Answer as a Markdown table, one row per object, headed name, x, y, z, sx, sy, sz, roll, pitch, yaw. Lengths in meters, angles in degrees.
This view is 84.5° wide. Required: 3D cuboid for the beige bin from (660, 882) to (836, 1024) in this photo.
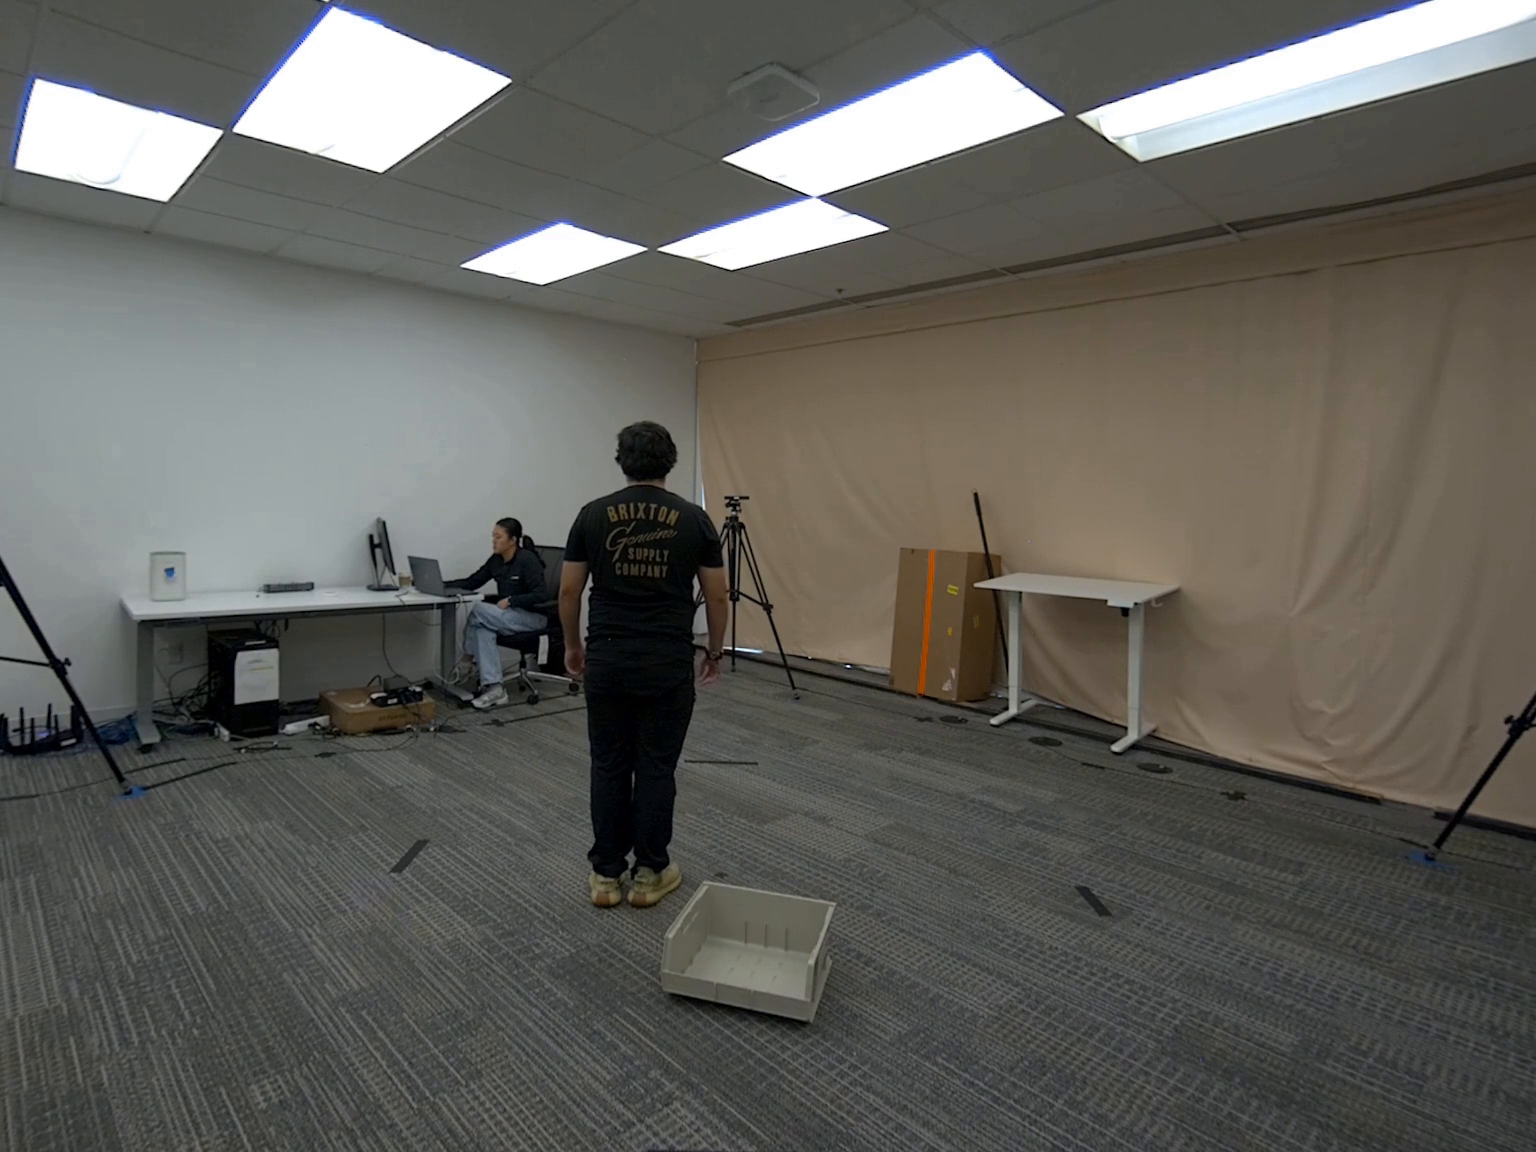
| name | x | y | z | sx | sy | sz | roll | pitch | yaw |
| --- | --- | --- | --- | --- | --- | --- | --- | --- | --- |
| beige bin | -0.049 | 1.084 | 2.415 | 0.428 | 0.188 | 0.373 | 2 | 4 | 15 |
